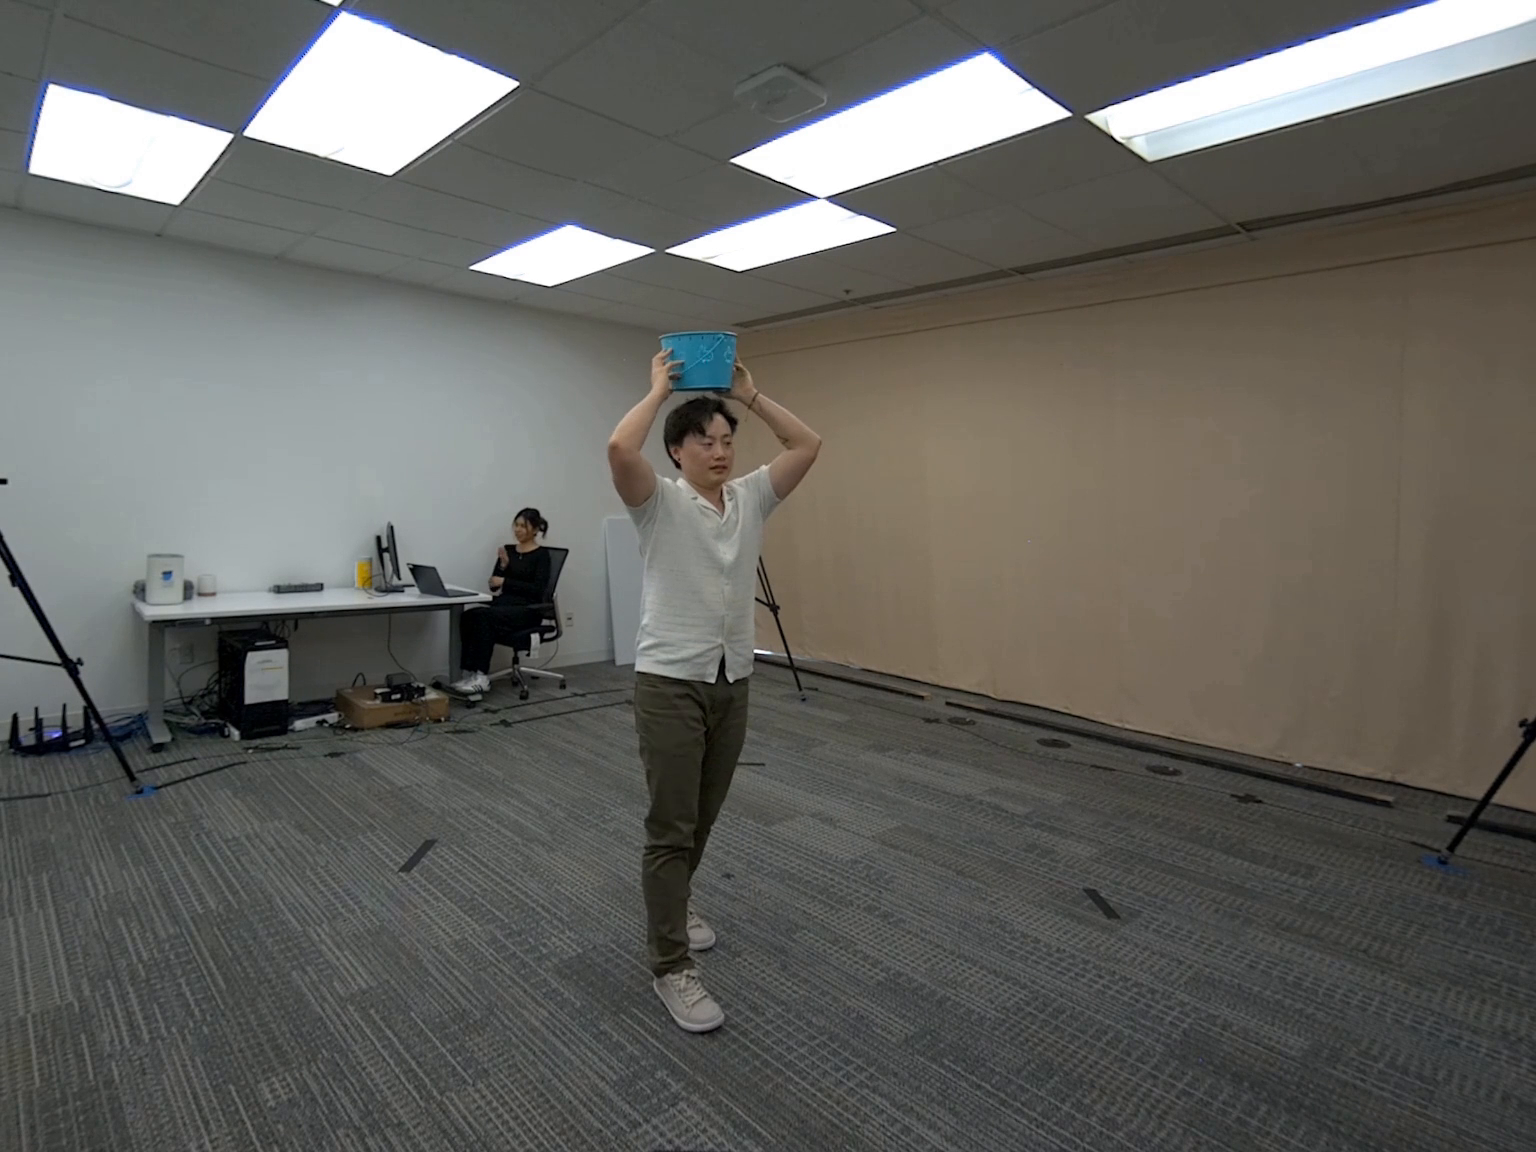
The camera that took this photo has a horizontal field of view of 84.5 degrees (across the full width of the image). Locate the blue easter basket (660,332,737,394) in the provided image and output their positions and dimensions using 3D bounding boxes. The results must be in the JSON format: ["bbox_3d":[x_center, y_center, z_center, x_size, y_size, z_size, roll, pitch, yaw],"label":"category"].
[{"bbox_3d":[-0.208,-0.626,2.460,0.243,0.155,0.245,-1,8,-1],"label":"blue easter basket"}]
